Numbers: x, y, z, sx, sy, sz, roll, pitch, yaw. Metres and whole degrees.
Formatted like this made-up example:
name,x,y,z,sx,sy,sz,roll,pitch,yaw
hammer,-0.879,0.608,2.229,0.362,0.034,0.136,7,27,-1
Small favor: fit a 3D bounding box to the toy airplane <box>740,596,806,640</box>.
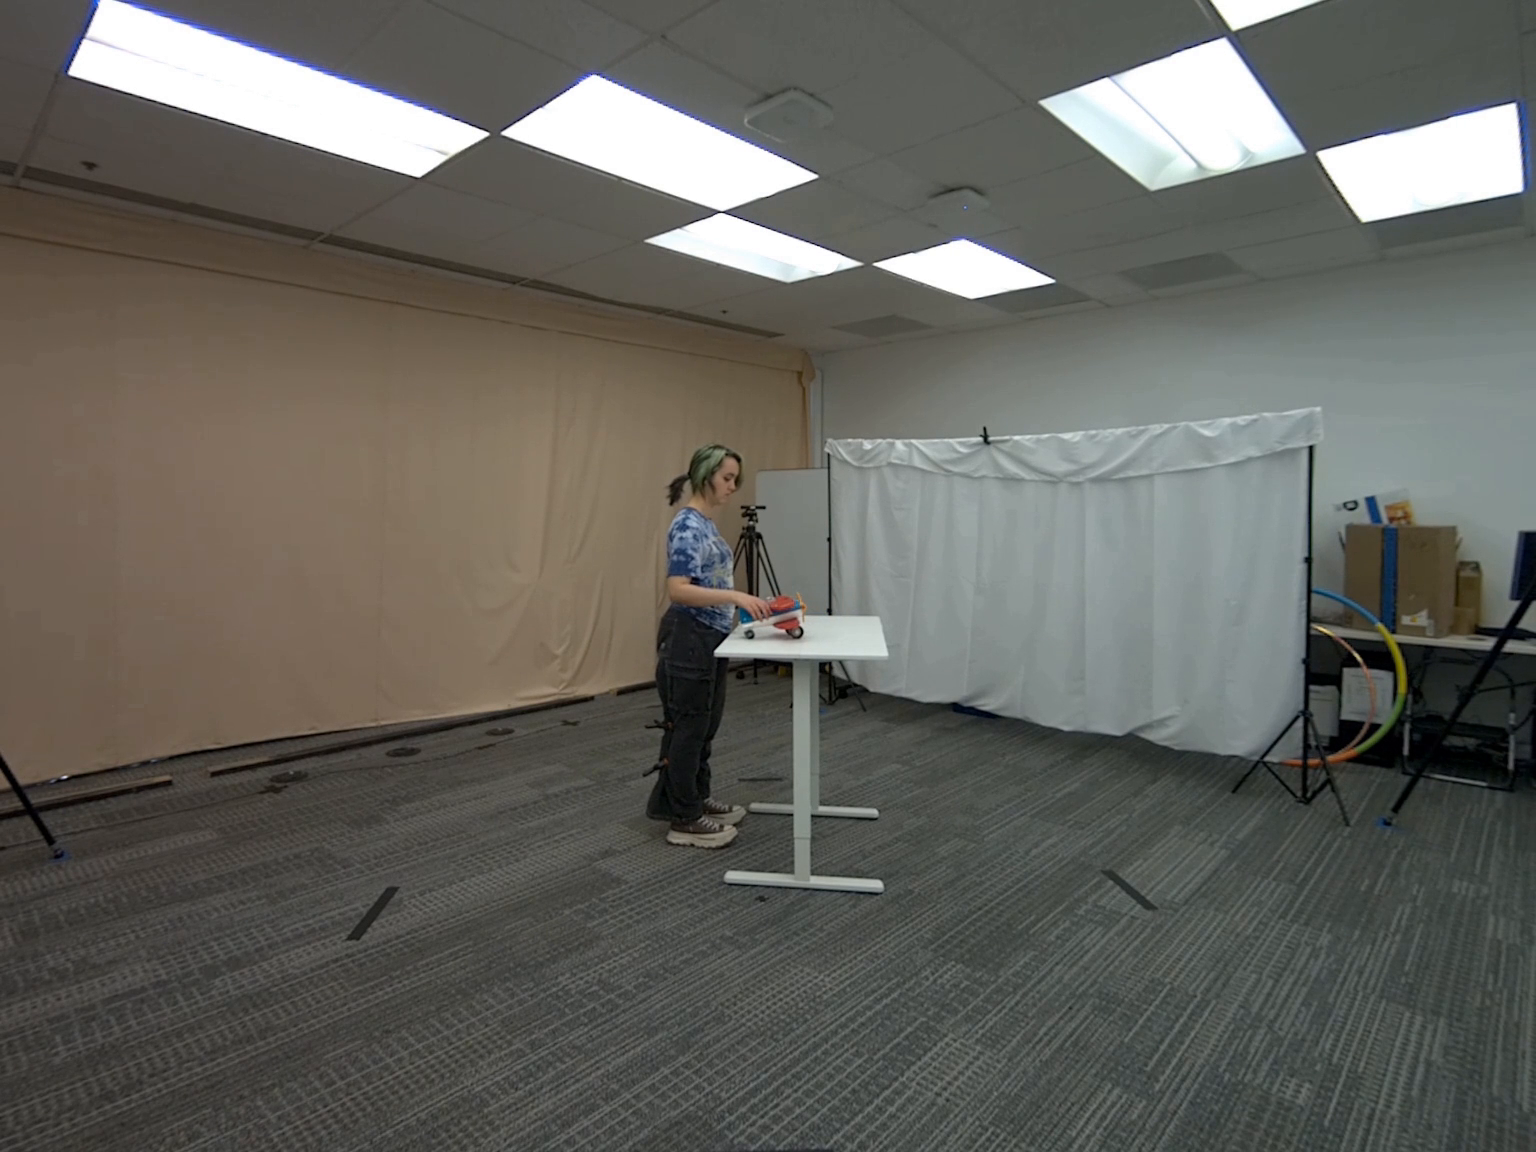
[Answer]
name,x,y,z,sx,sy,sz,roll,pitch,yaw
toy airplane,0.029,0.163,3.249,0.252,0.156,0.259,-3,5,-34
